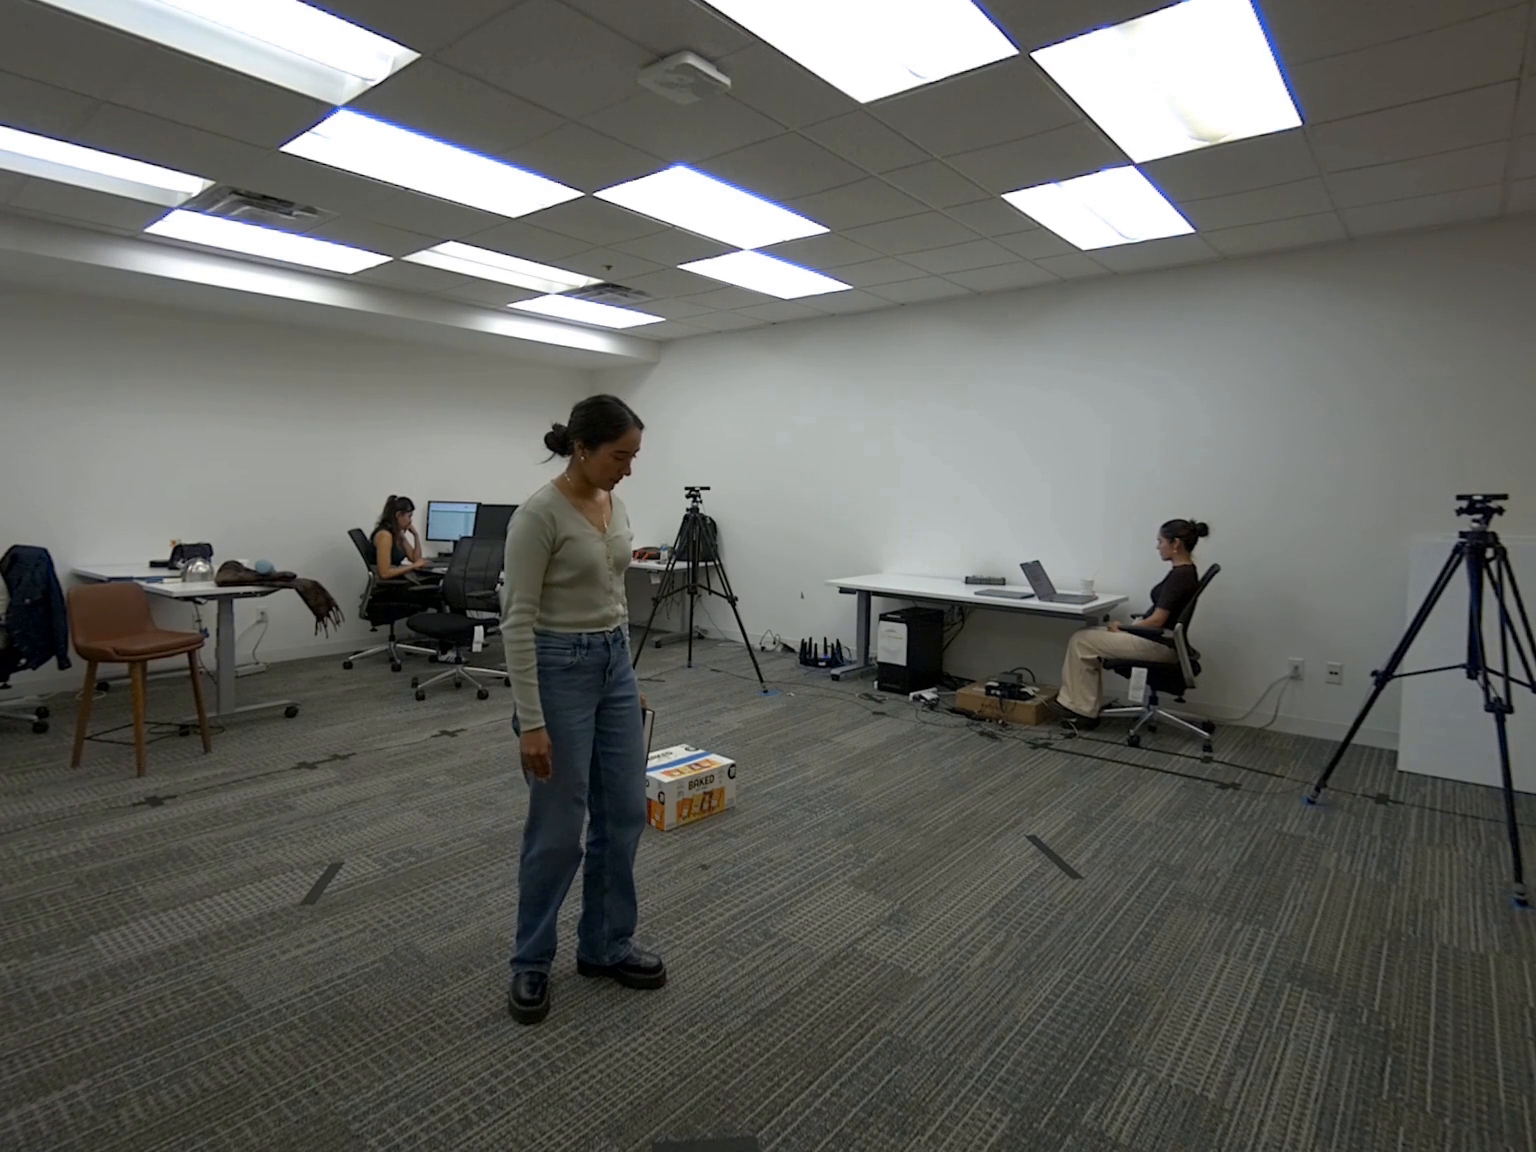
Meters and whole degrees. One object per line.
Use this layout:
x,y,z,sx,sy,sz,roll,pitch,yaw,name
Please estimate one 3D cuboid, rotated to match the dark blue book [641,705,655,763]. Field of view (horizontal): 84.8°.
-0.437,0.515,2.523,0.167,0.246,0.044,3,-4,18,dark blue book
